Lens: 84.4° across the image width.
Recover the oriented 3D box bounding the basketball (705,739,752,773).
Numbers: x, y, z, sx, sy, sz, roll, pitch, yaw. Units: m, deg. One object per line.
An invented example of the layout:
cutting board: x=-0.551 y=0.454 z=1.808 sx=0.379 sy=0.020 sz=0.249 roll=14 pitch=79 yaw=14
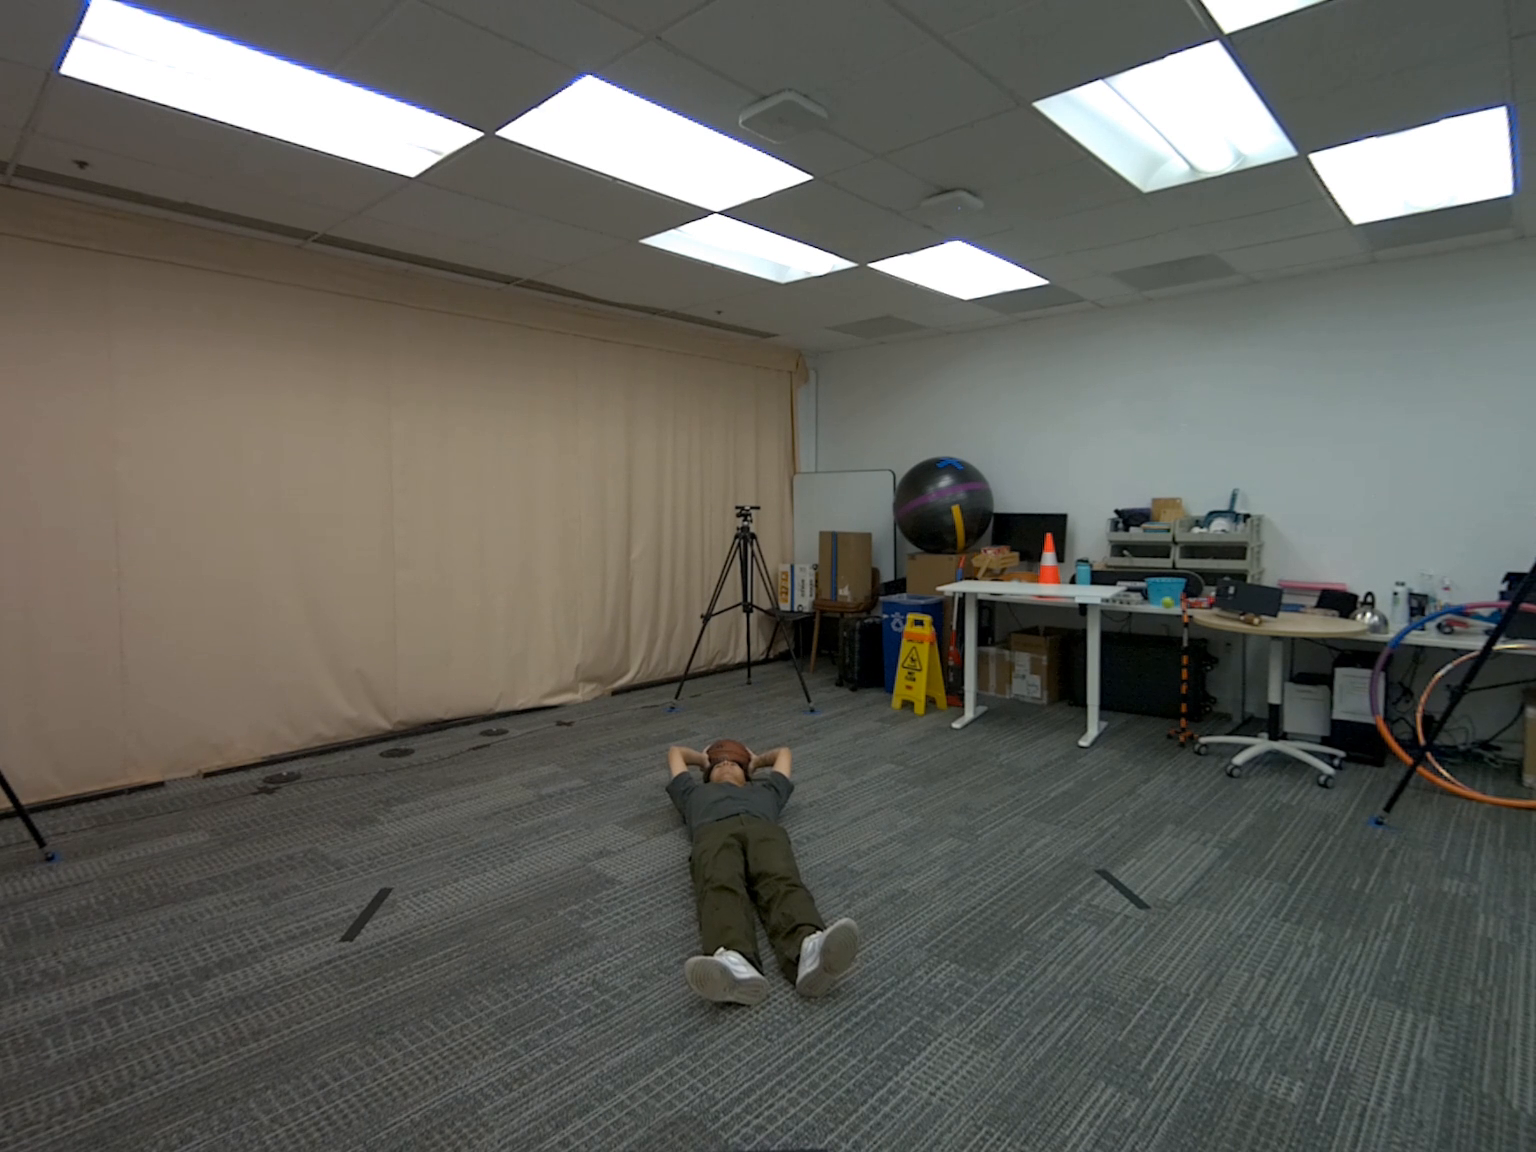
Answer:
basketball: x=-0.203 y=0.923 z=4.189 sx=0.236 sy=0.235 sz=0.237 roll=0 pitch=4 yaw=-2
